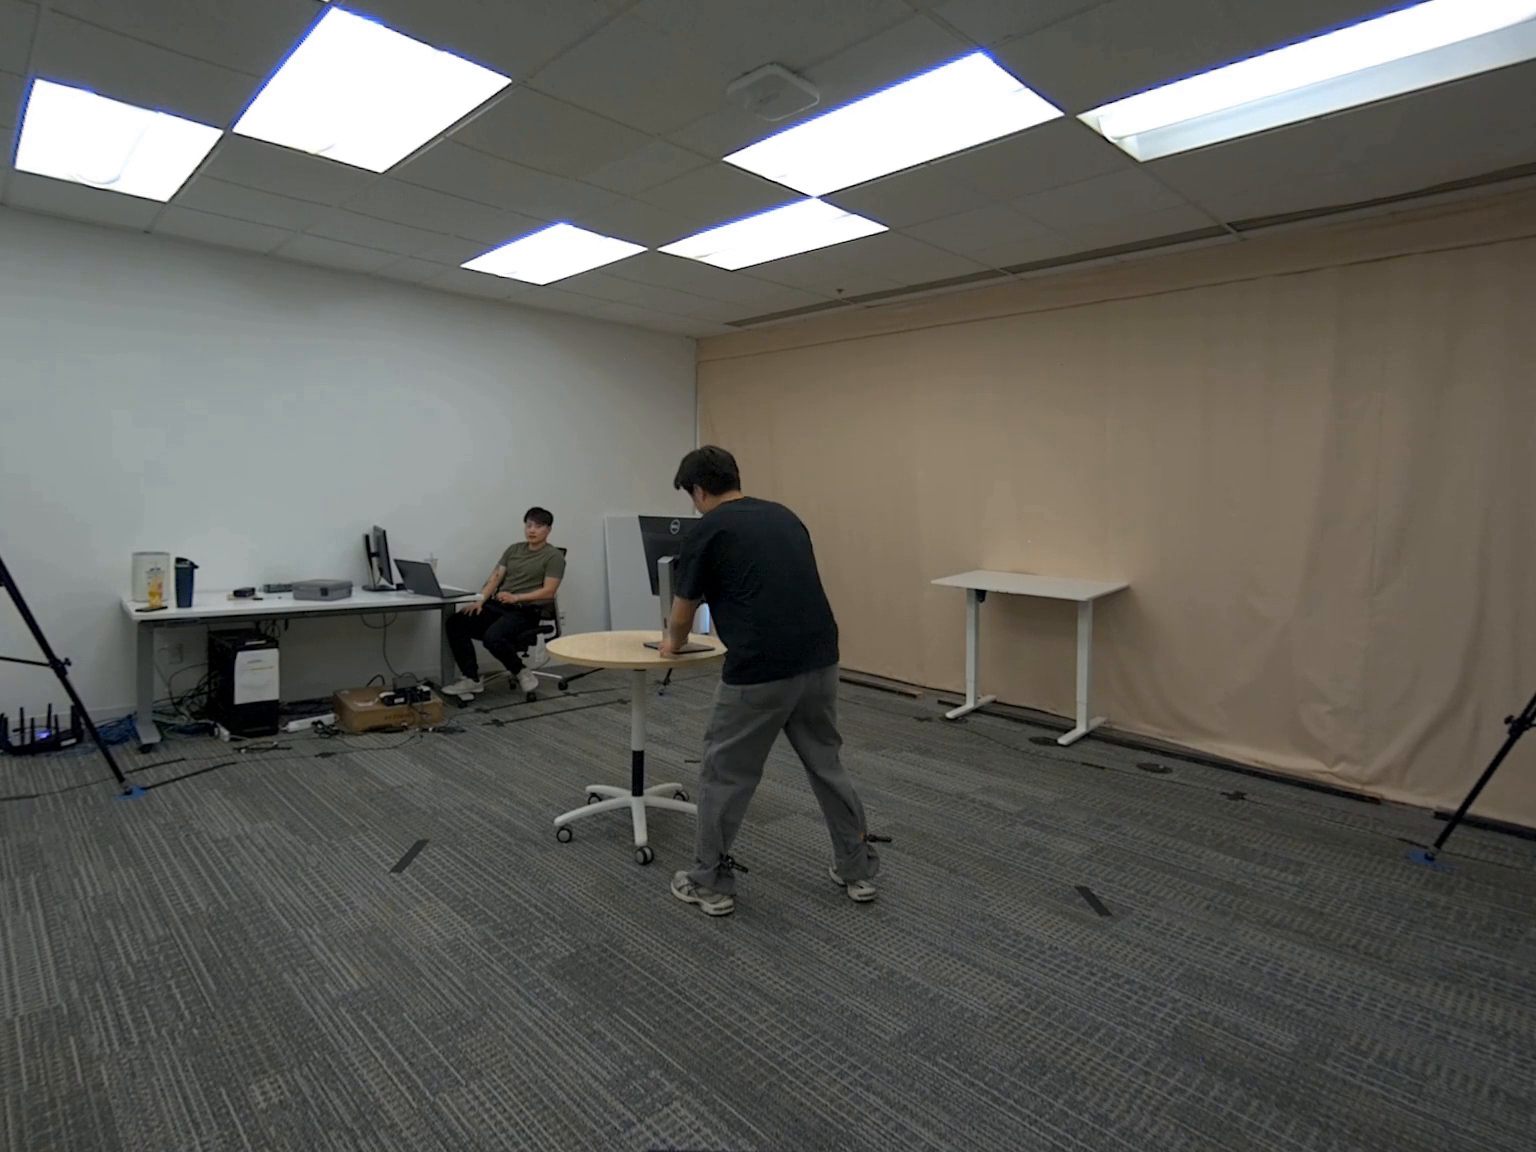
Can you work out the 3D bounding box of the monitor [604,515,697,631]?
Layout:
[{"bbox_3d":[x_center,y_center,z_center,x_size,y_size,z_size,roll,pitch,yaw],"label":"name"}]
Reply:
[{"bbox_3d":[-0.380,0.029,3.400,0.206,0.551,0.580,-10,11,-42],"label":"monitor"}]
